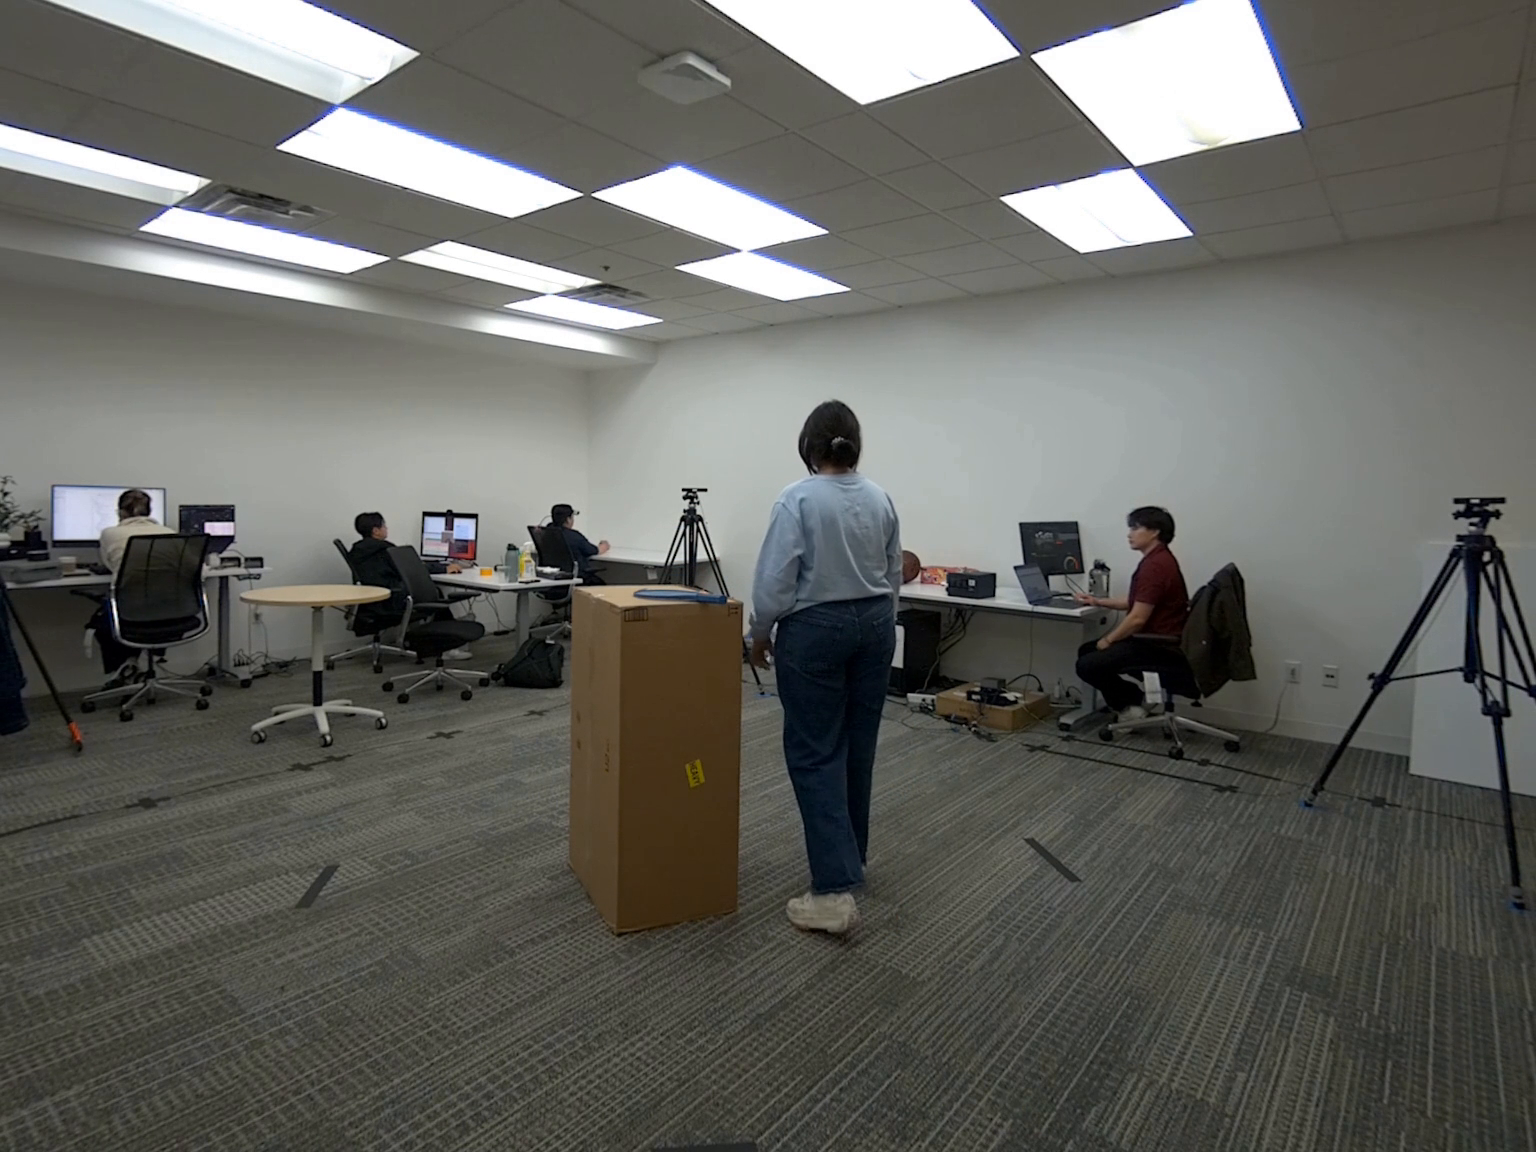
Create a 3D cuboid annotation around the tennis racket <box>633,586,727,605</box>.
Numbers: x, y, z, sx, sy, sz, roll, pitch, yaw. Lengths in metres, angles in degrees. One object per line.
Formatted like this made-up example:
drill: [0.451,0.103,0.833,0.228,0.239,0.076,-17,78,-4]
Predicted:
tennis racket: [-0.288,0.064,2.823,0.207,0.032,0.447,-3,5,-44]
